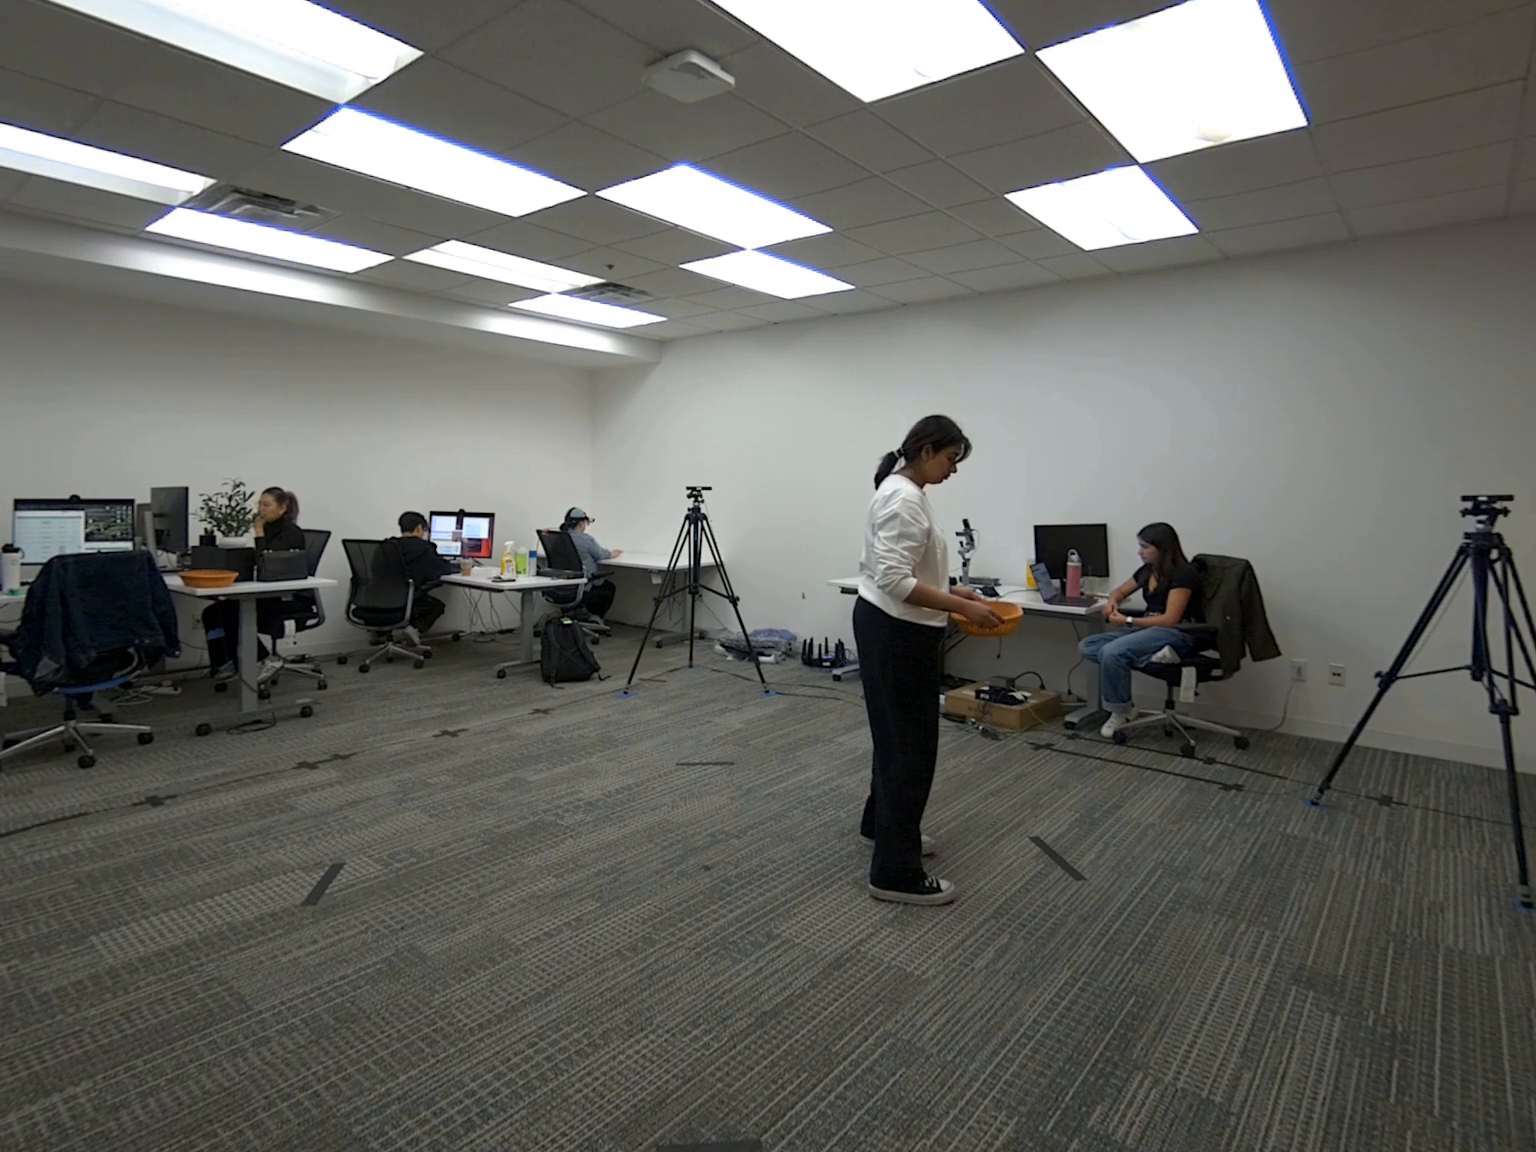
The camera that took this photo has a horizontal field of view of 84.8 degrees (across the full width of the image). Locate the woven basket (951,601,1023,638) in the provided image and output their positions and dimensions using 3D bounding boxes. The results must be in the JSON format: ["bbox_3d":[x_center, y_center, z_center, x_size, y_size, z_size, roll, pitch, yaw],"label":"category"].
[{"bbox_3d":[0.804,0.164,3.102,0.256,0.073,0.347,-3,9,15],"label":"woven basket"}]
